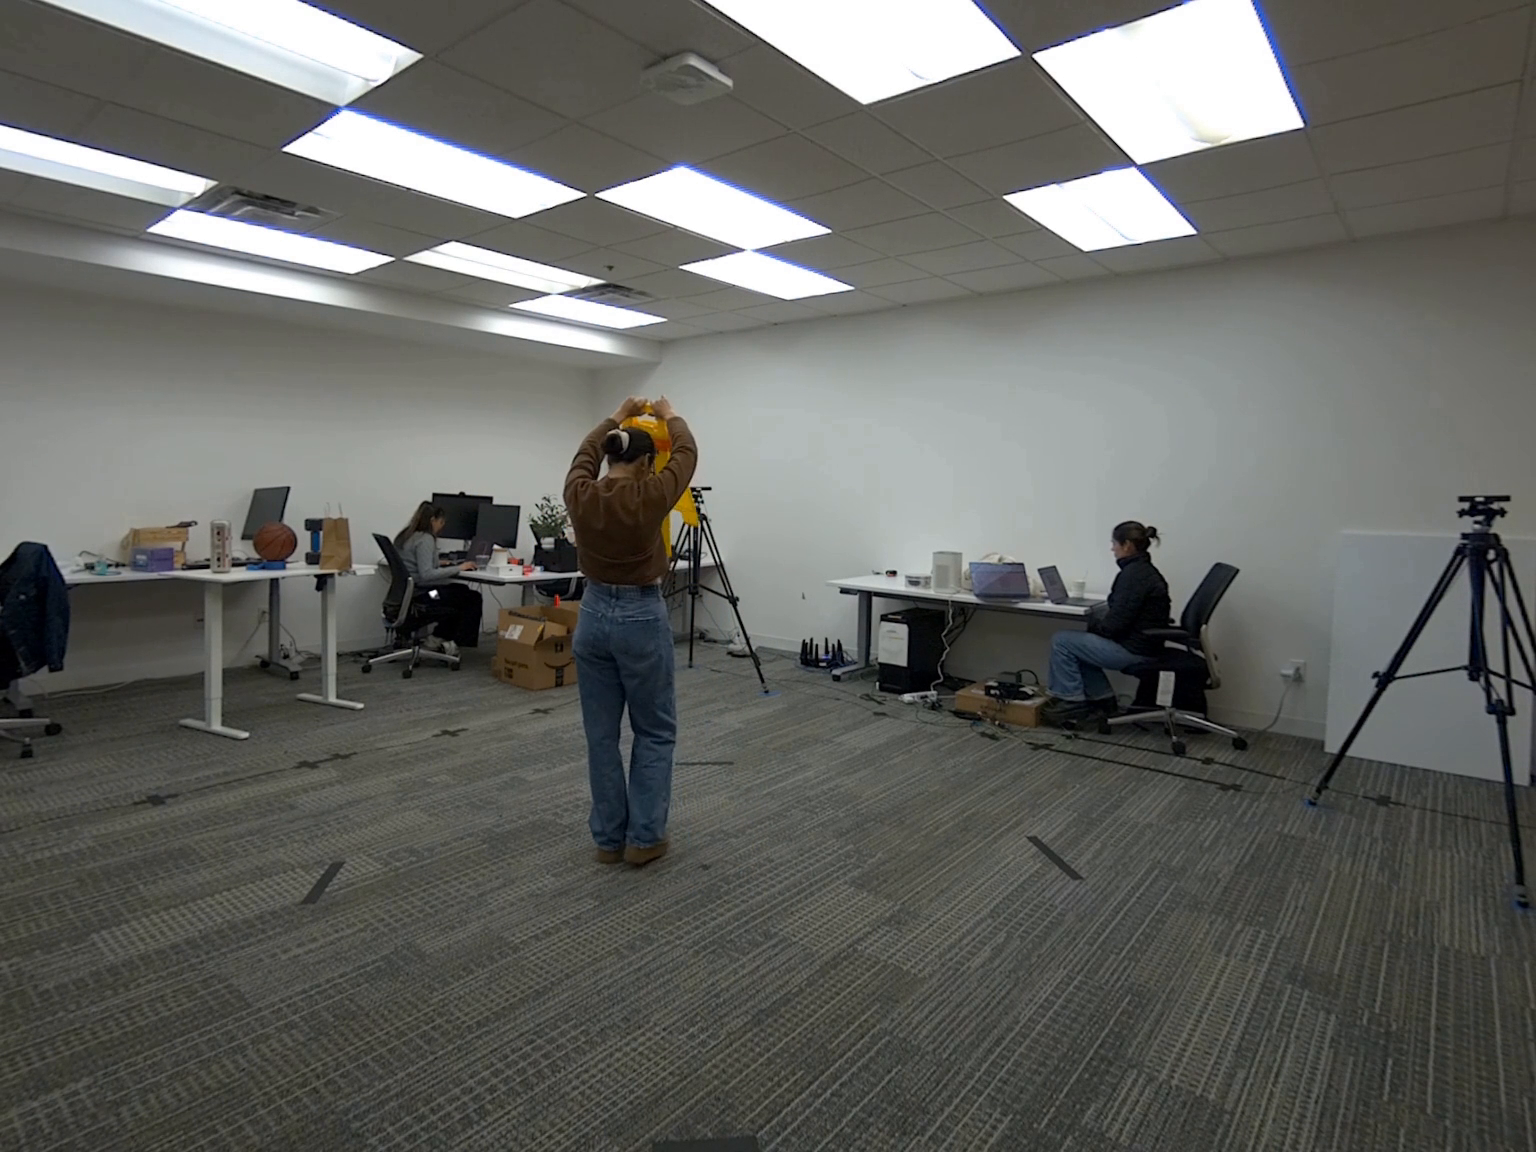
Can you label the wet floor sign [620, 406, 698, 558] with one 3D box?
[{"bbox_3d":[-0.503,-0.444,3.634,0.290,0.629,0.290,17,38,21],"label":"wet floor sign"}]
